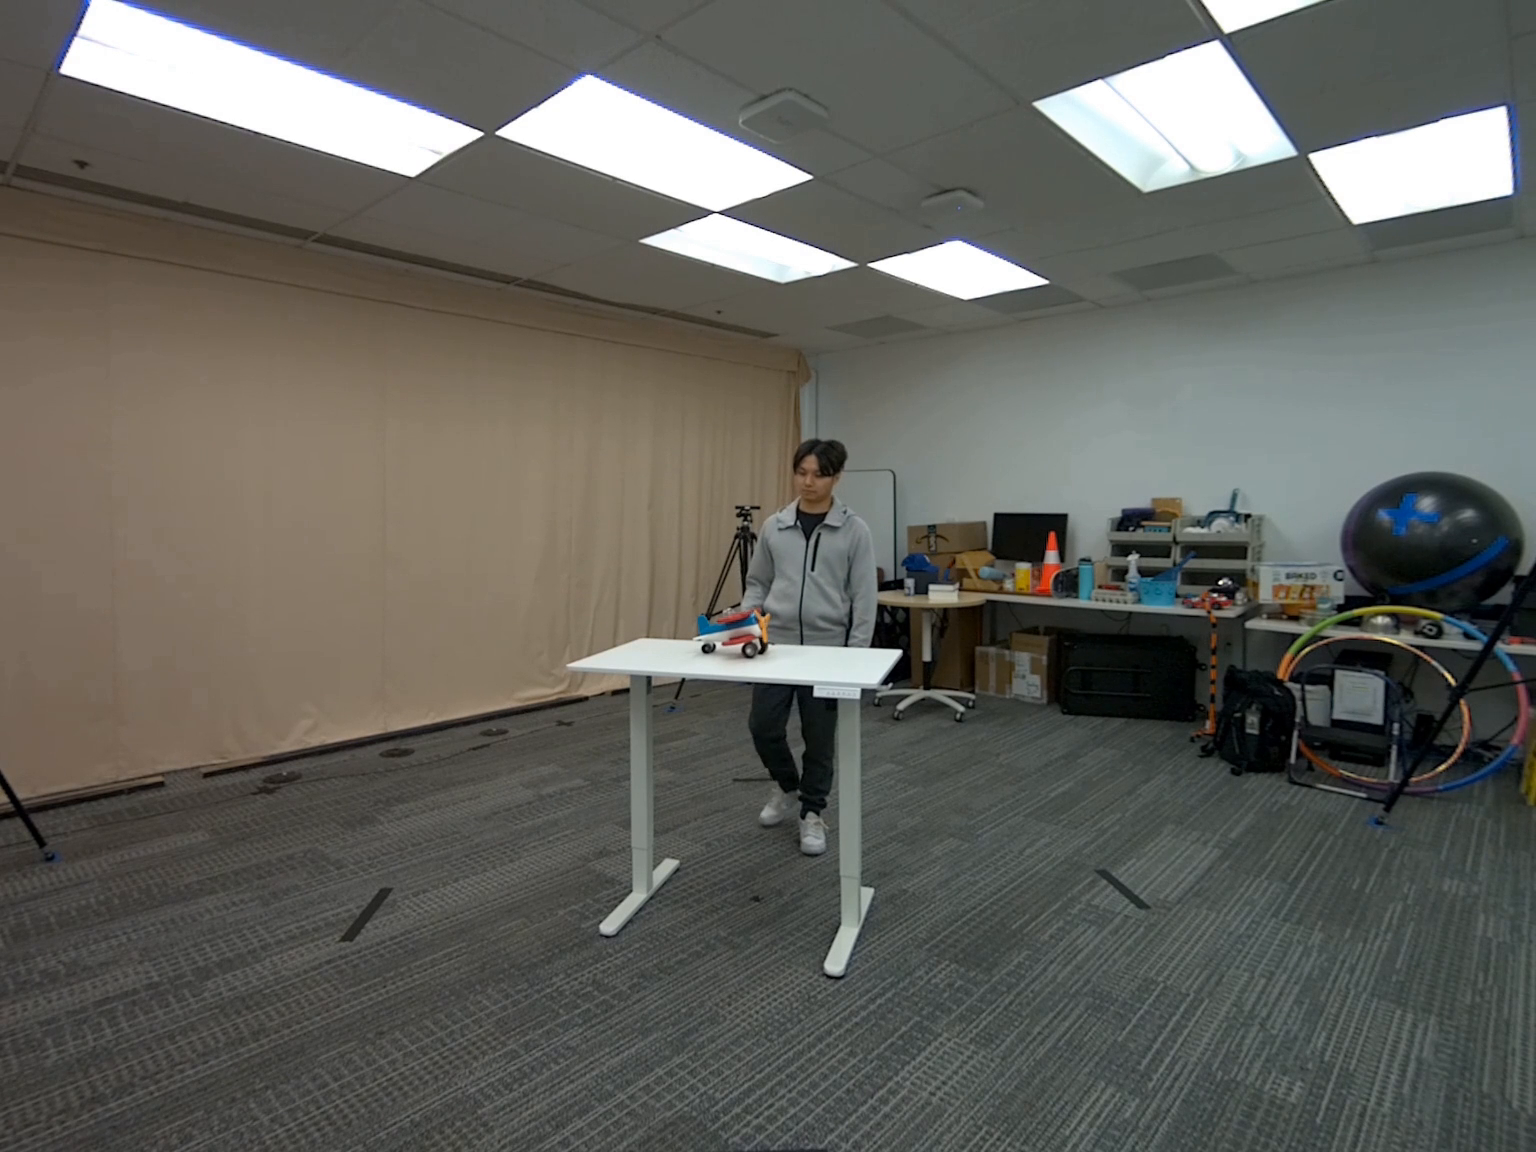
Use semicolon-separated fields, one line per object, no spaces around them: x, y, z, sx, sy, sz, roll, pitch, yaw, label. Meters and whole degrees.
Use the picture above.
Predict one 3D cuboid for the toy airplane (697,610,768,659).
-0.120;0.196;2.874;0.258;0.156;0.252;0;3;-3;toy airplane
